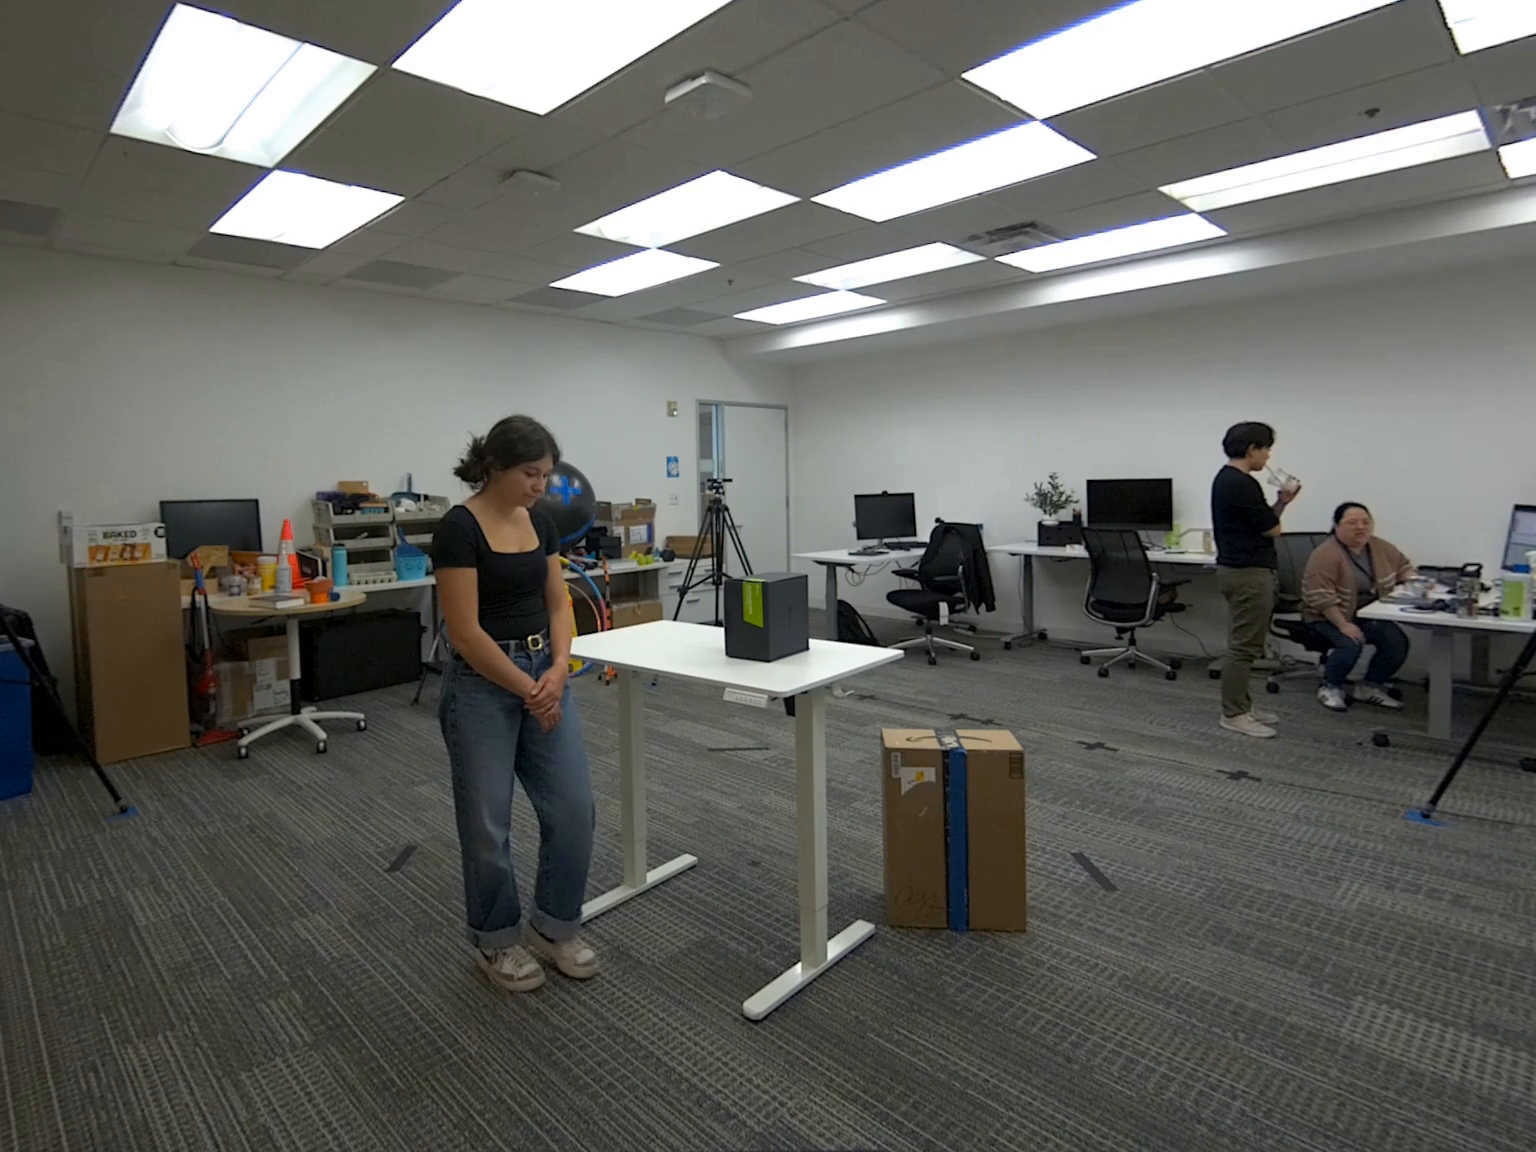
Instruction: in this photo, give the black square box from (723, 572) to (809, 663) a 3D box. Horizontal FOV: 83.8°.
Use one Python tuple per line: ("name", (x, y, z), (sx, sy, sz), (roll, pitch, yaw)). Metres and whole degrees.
("black square box", (-0.003, 0.115, 2.502), (0.160, 0.227, 0.212), (2, 6, 36))
